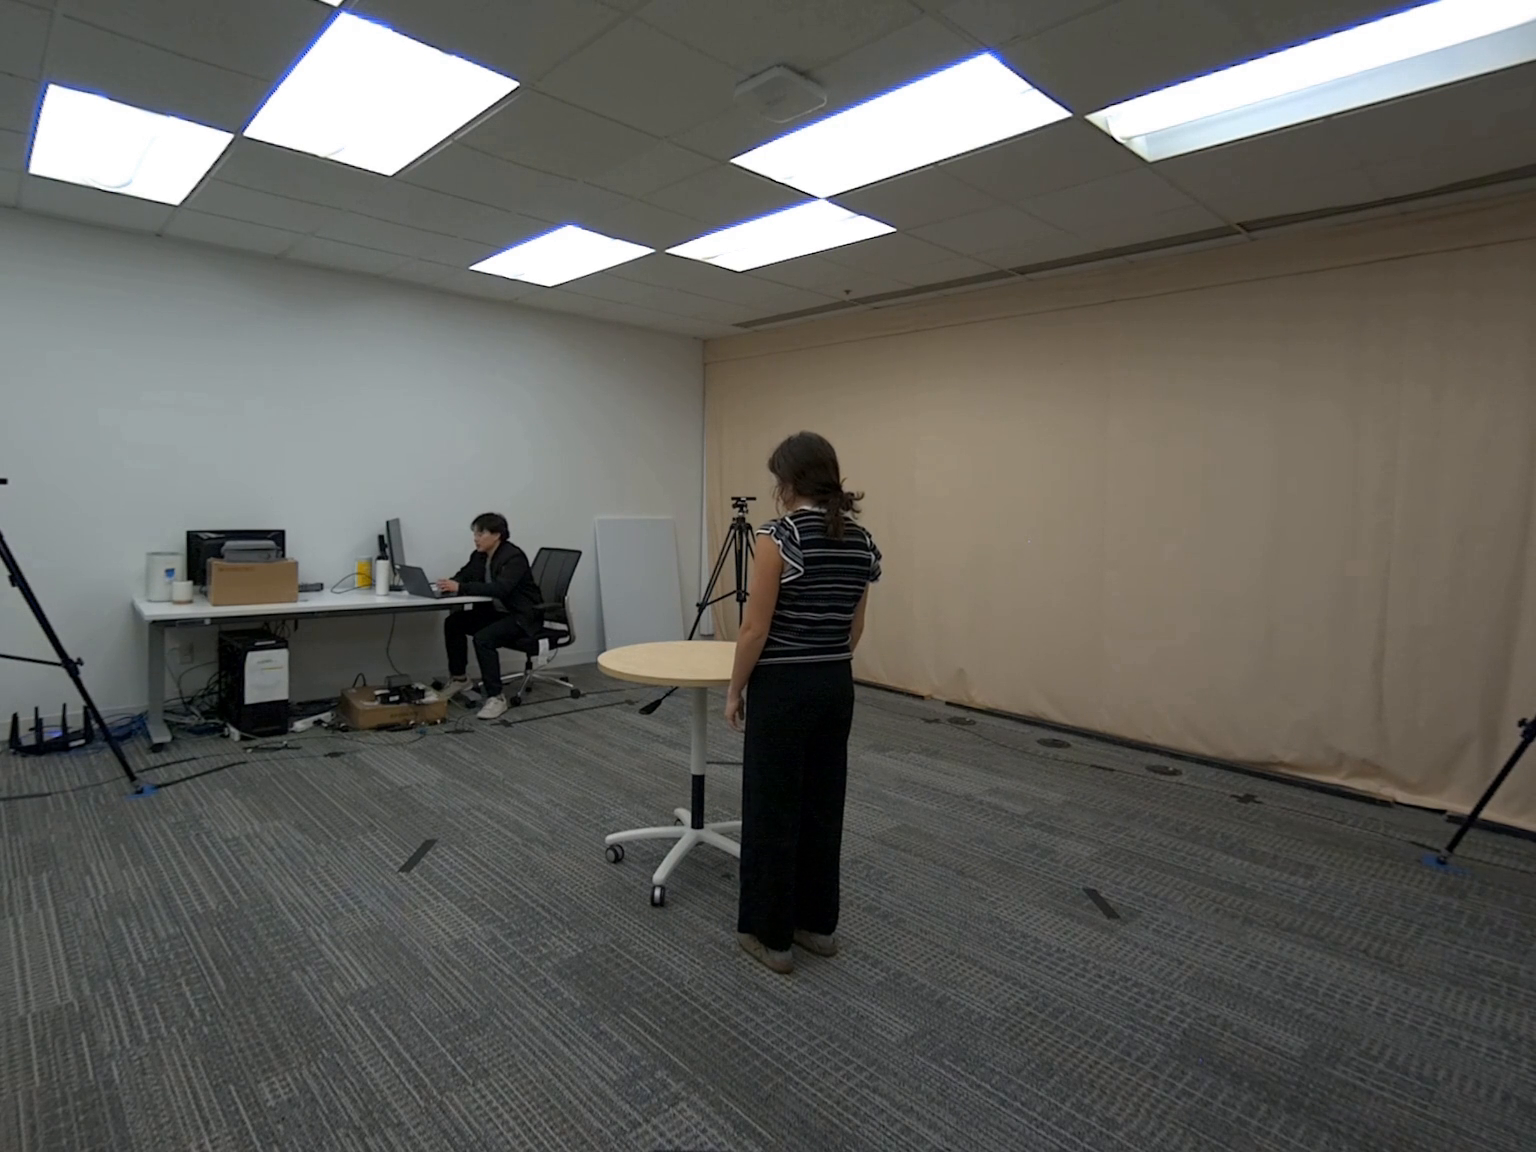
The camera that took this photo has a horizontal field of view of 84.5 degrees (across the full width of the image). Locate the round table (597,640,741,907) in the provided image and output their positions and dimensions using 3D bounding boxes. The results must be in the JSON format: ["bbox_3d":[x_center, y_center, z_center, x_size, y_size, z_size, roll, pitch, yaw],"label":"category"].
[{"bbox_3d":[-0.268,0.705,3.183,0.763,0.792,0.766,1,4,-1],"label":"round table"}]
